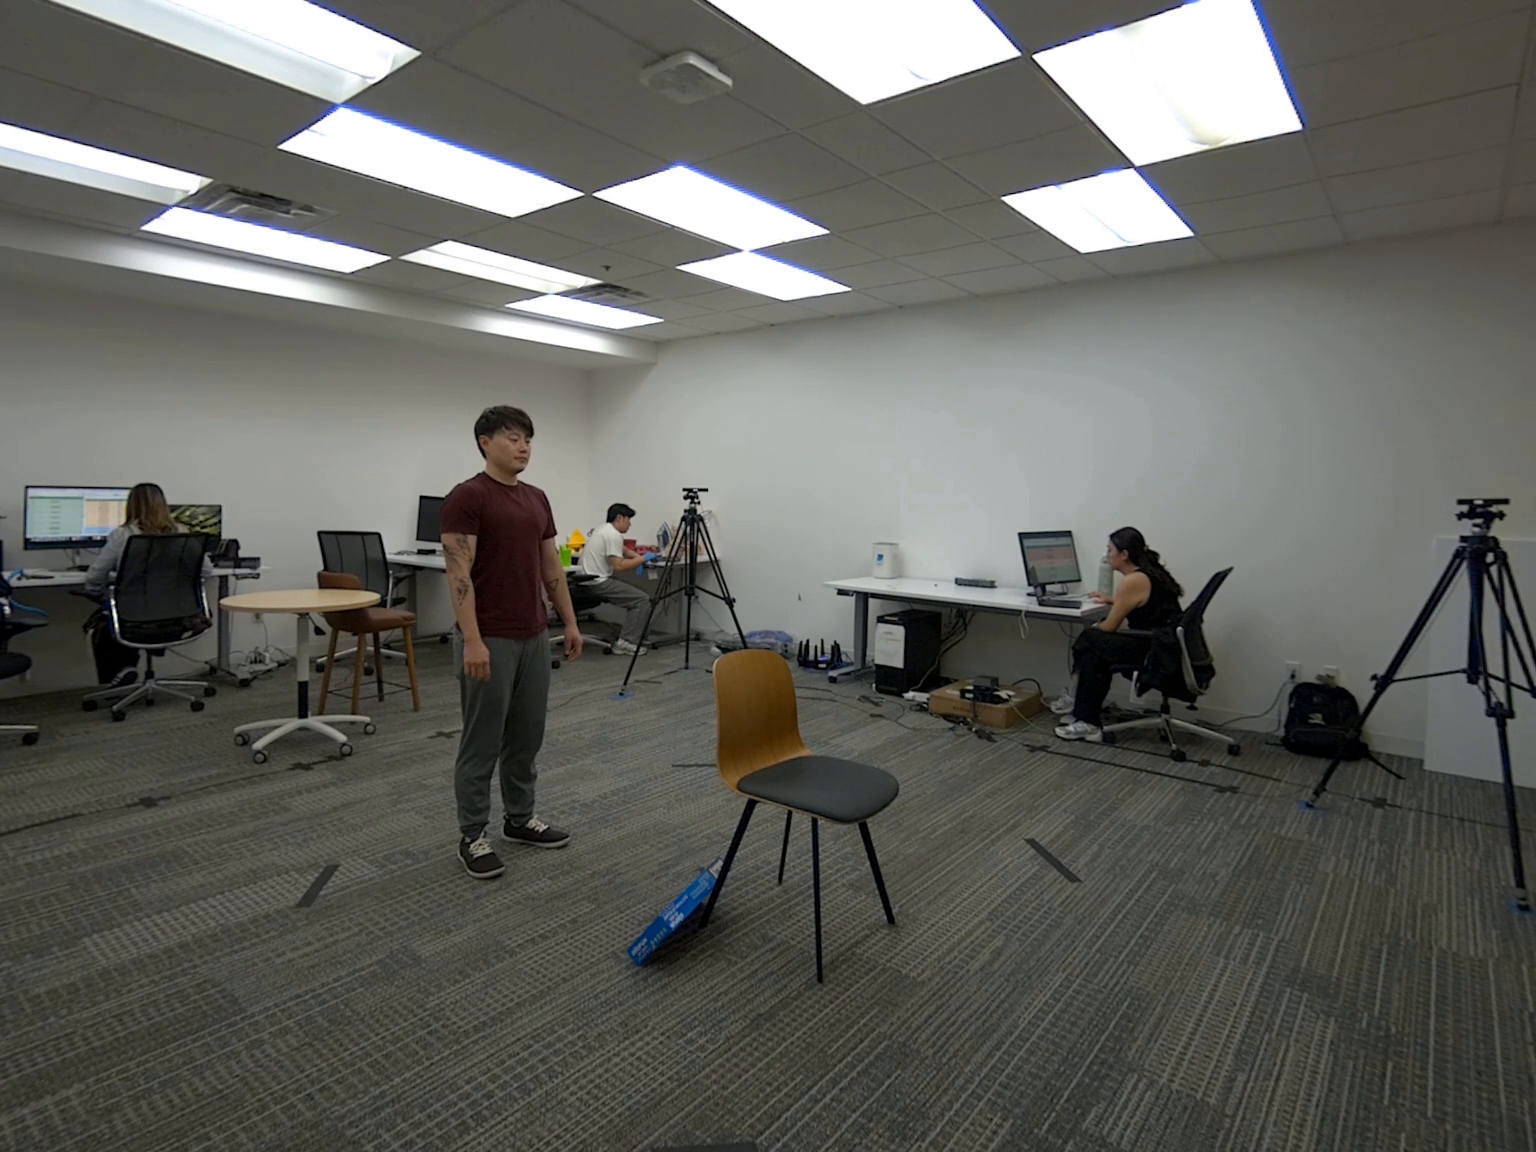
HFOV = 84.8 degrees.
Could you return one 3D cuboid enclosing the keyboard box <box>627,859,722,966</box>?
[{"bbox_3d":[-0.279,1.031,2.646,0.060,0.175,0.429,42,17,12],"label":"keyboard box"}]
